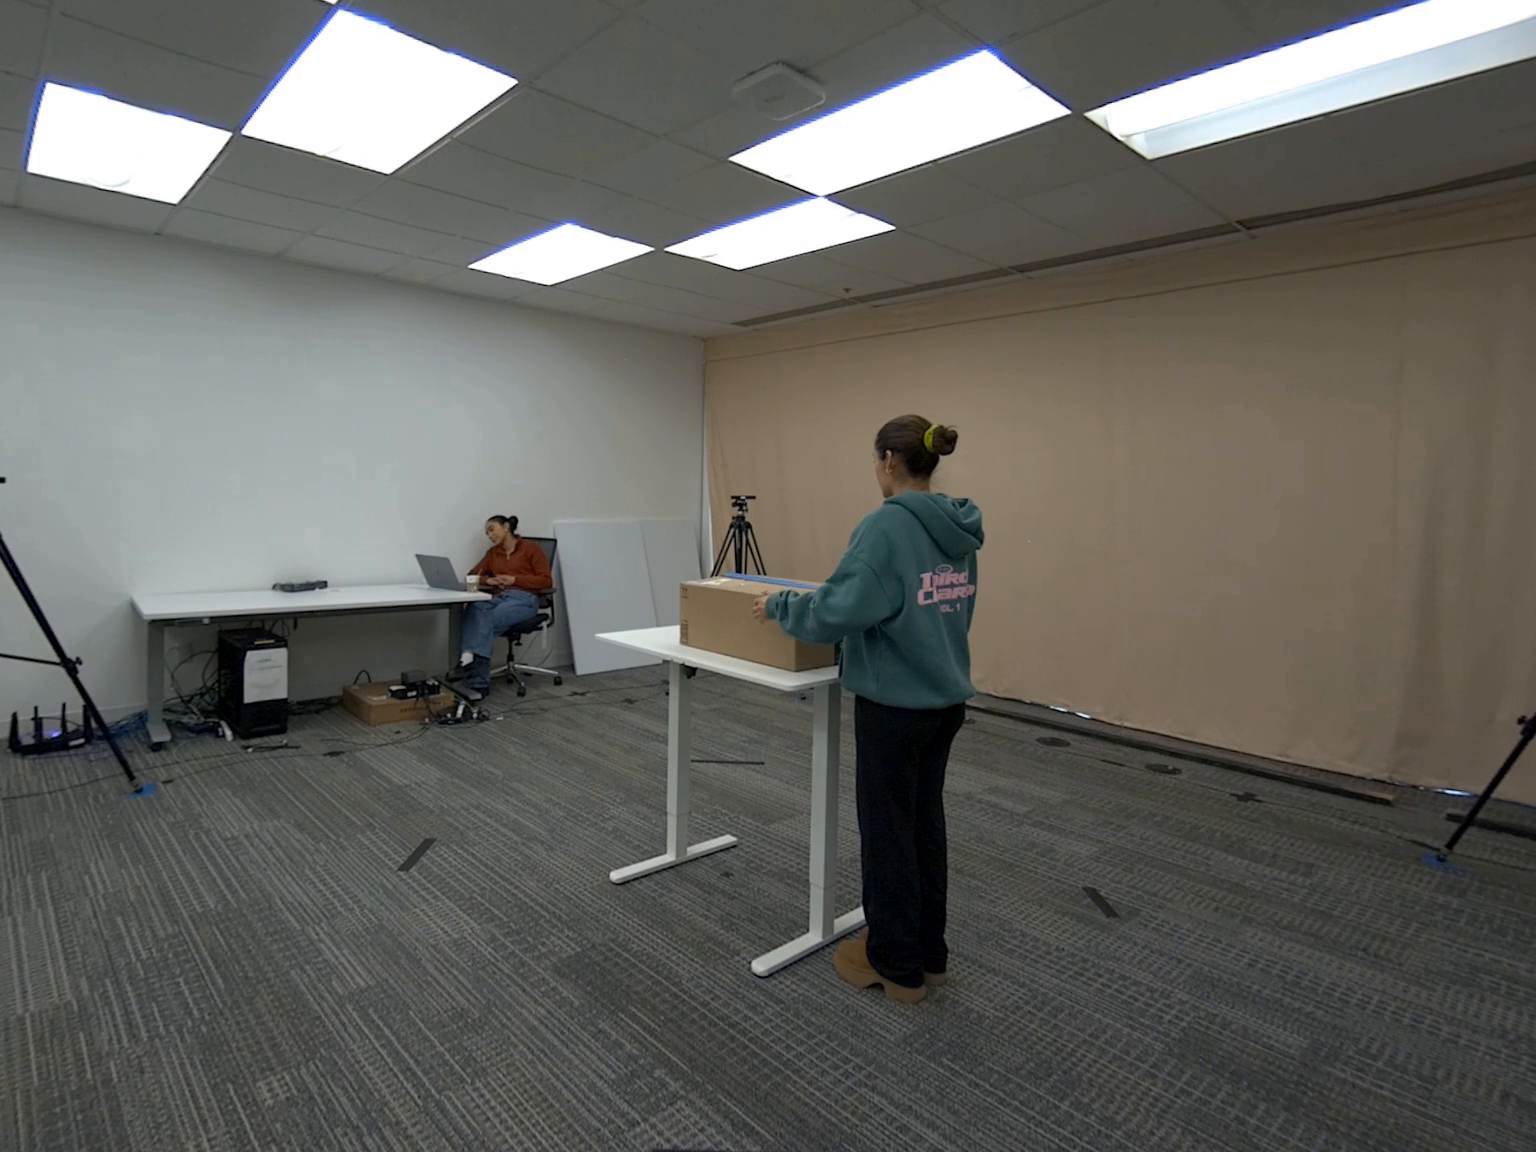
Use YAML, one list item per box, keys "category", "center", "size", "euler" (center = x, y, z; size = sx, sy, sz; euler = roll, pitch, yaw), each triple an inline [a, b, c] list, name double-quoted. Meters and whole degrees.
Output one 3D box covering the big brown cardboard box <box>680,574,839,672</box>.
- category: "big brown cardboard box"
  center: [0.029, 0.143, 2.822]
  size: [0.408, 0.232, 0.604]
  euler: [-3, 8, -42]
